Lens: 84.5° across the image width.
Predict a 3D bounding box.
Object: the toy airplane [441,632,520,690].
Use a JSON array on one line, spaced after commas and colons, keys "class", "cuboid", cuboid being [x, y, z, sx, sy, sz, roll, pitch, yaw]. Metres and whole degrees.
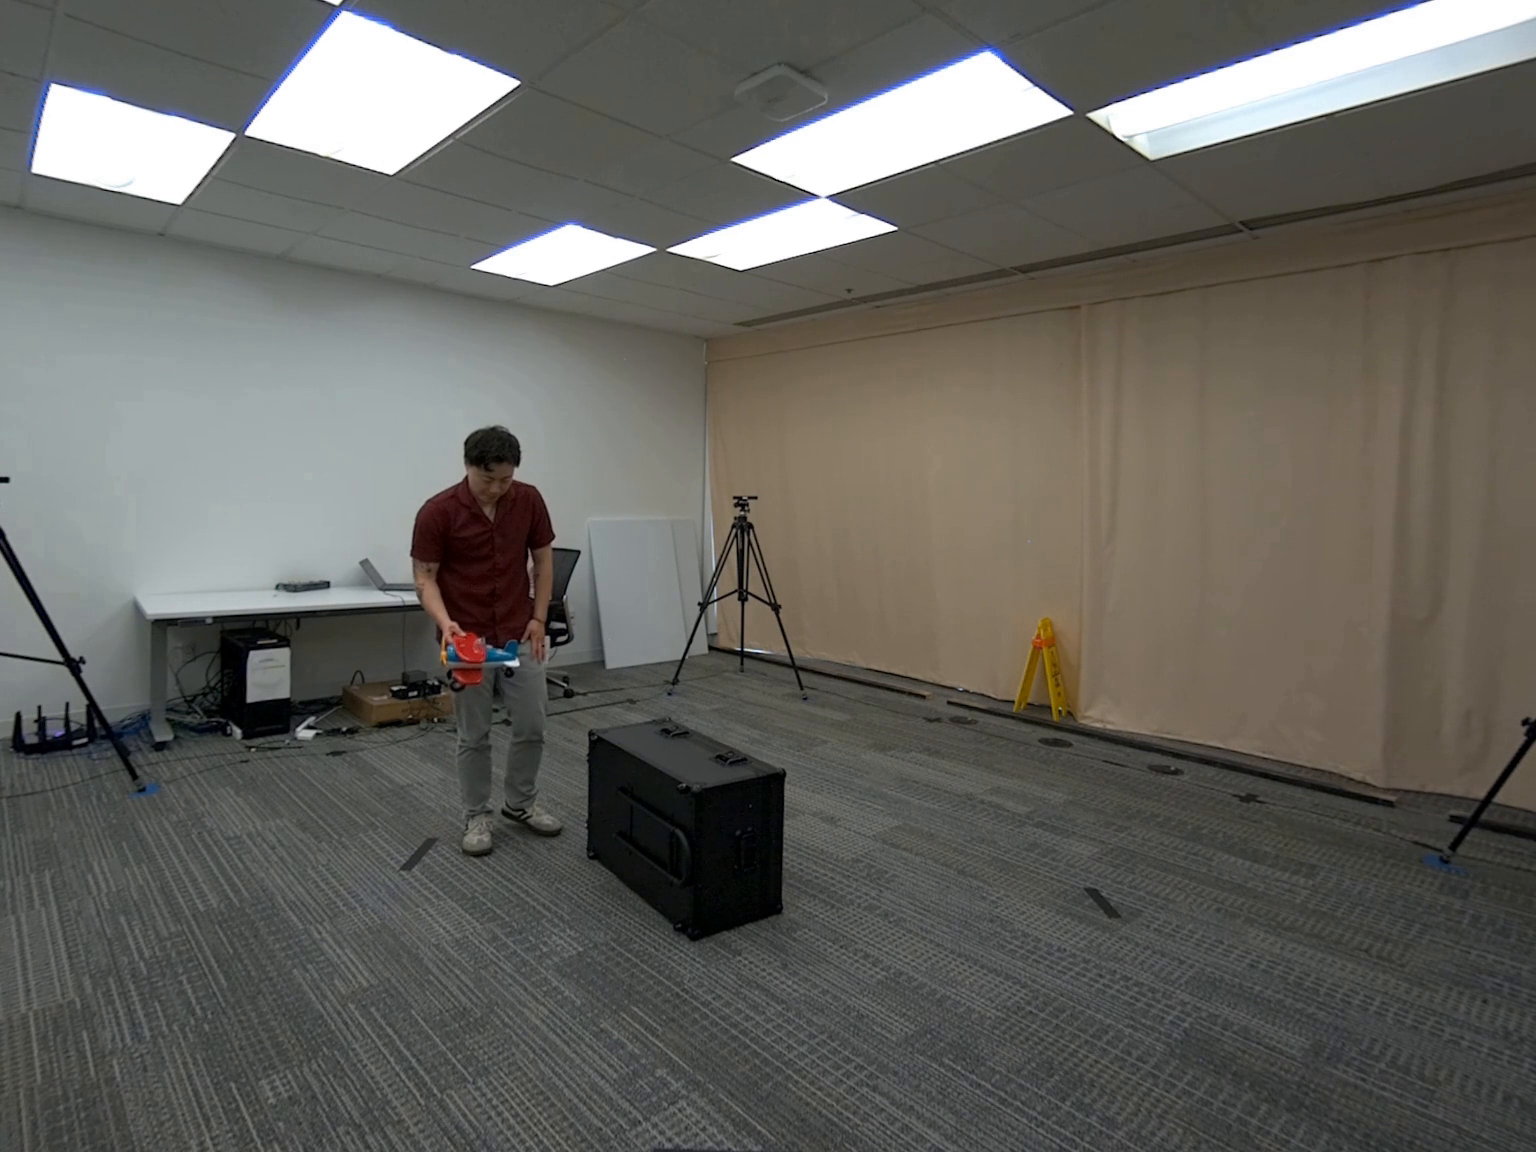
[{"class": "toy airplane", "cuboid": [-1.025, 0.293, 2.927, 0.258, 0.154, 0.256, 12, 24, 37]}]
